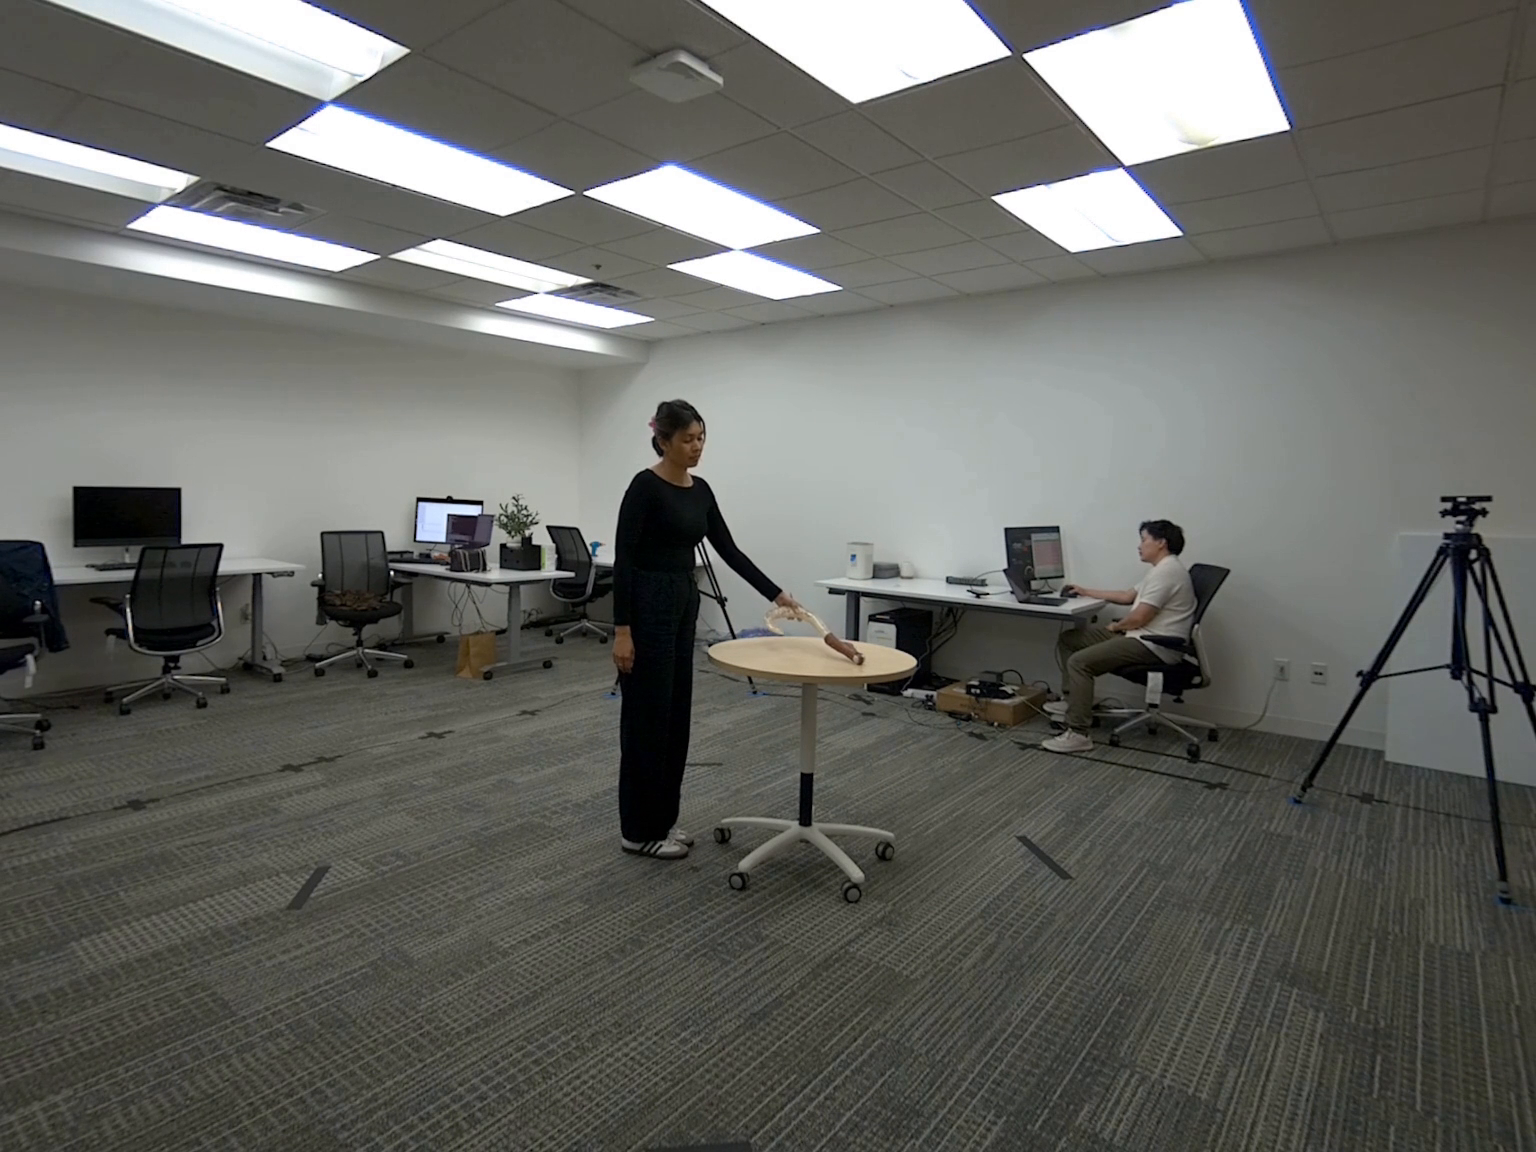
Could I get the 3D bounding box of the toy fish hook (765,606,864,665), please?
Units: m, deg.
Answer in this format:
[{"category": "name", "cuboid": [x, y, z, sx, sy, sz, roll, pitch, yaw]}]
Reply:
[{"category": "toy fish hook", "cuboid": [0.164, 0.226, 3.157, 0.221, 0.047, 0.526, -15, 26, -23]}]
